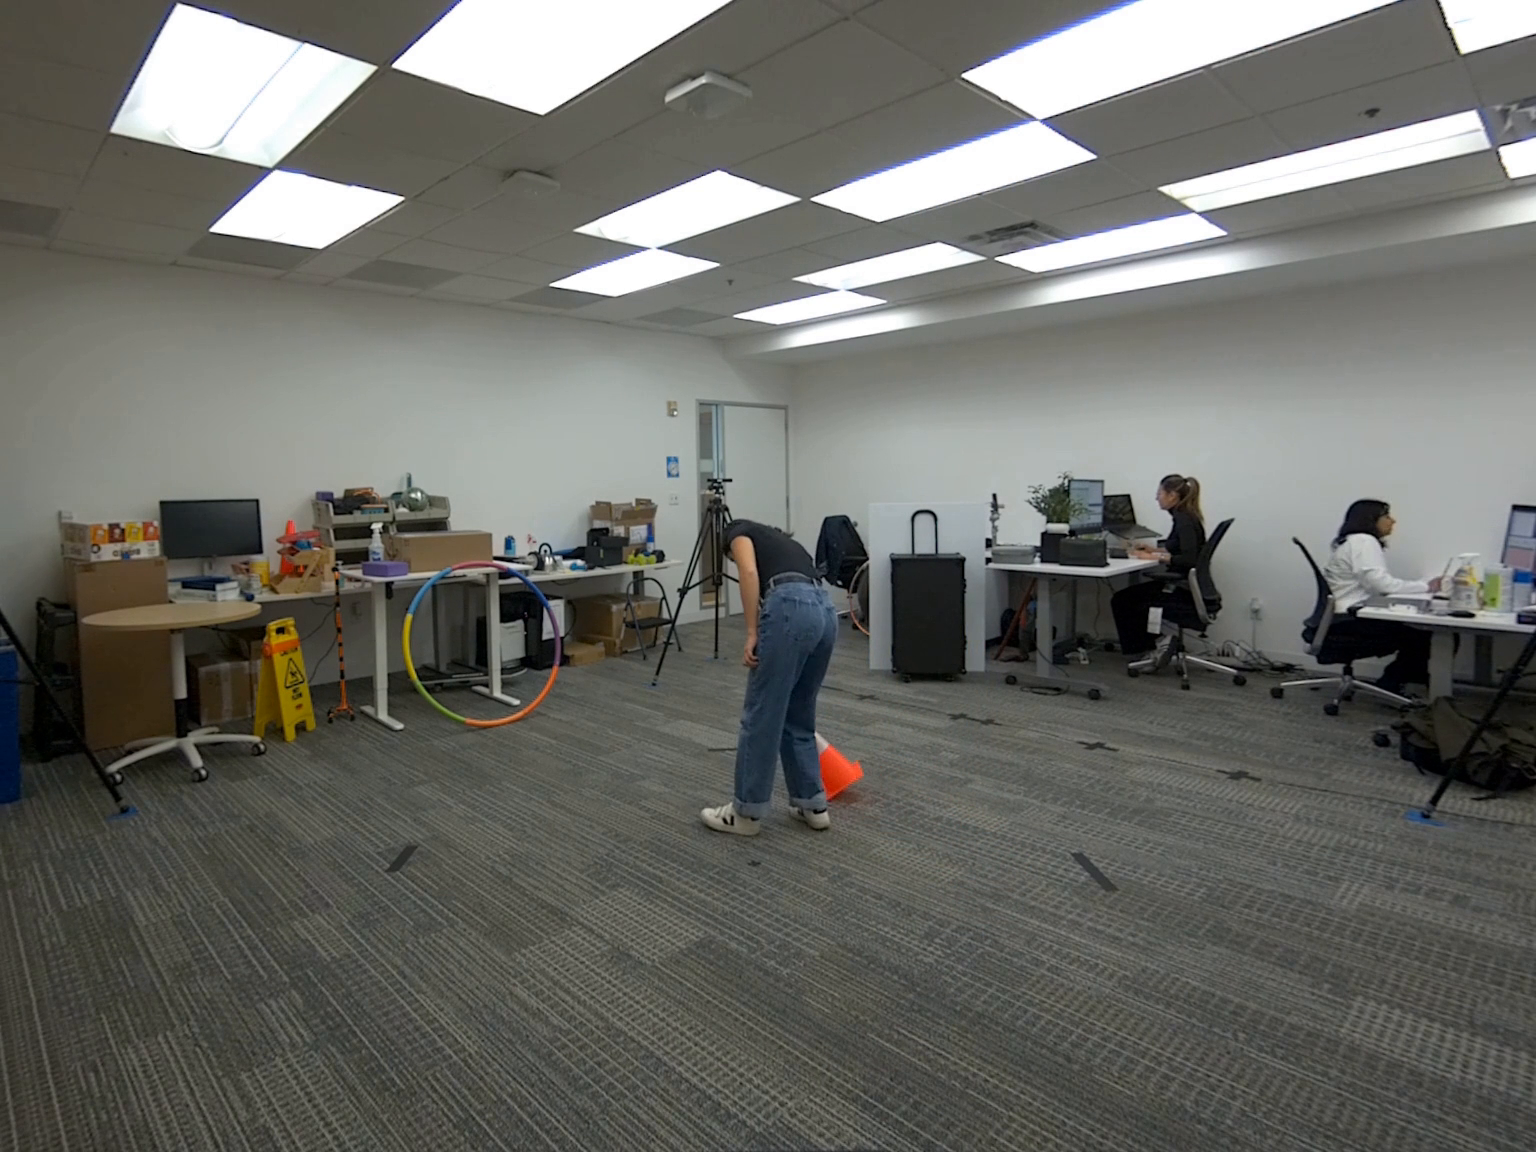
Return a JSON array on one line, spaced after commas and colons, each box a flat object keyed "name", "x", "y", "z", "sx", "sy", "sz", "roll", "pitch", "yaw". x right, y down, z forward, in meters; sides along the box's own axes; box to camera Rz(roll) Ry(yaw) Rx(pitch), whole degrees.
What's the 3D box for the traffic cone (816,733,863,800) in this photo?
[{"name": "traffic cone", "x": 0.219, "y": 0.760, "z": 3.784, "sx": 0.205, "sy": 0.383, "sz": 0.203, "roll": -36, "pitch": 2, "yaw": 4}]
